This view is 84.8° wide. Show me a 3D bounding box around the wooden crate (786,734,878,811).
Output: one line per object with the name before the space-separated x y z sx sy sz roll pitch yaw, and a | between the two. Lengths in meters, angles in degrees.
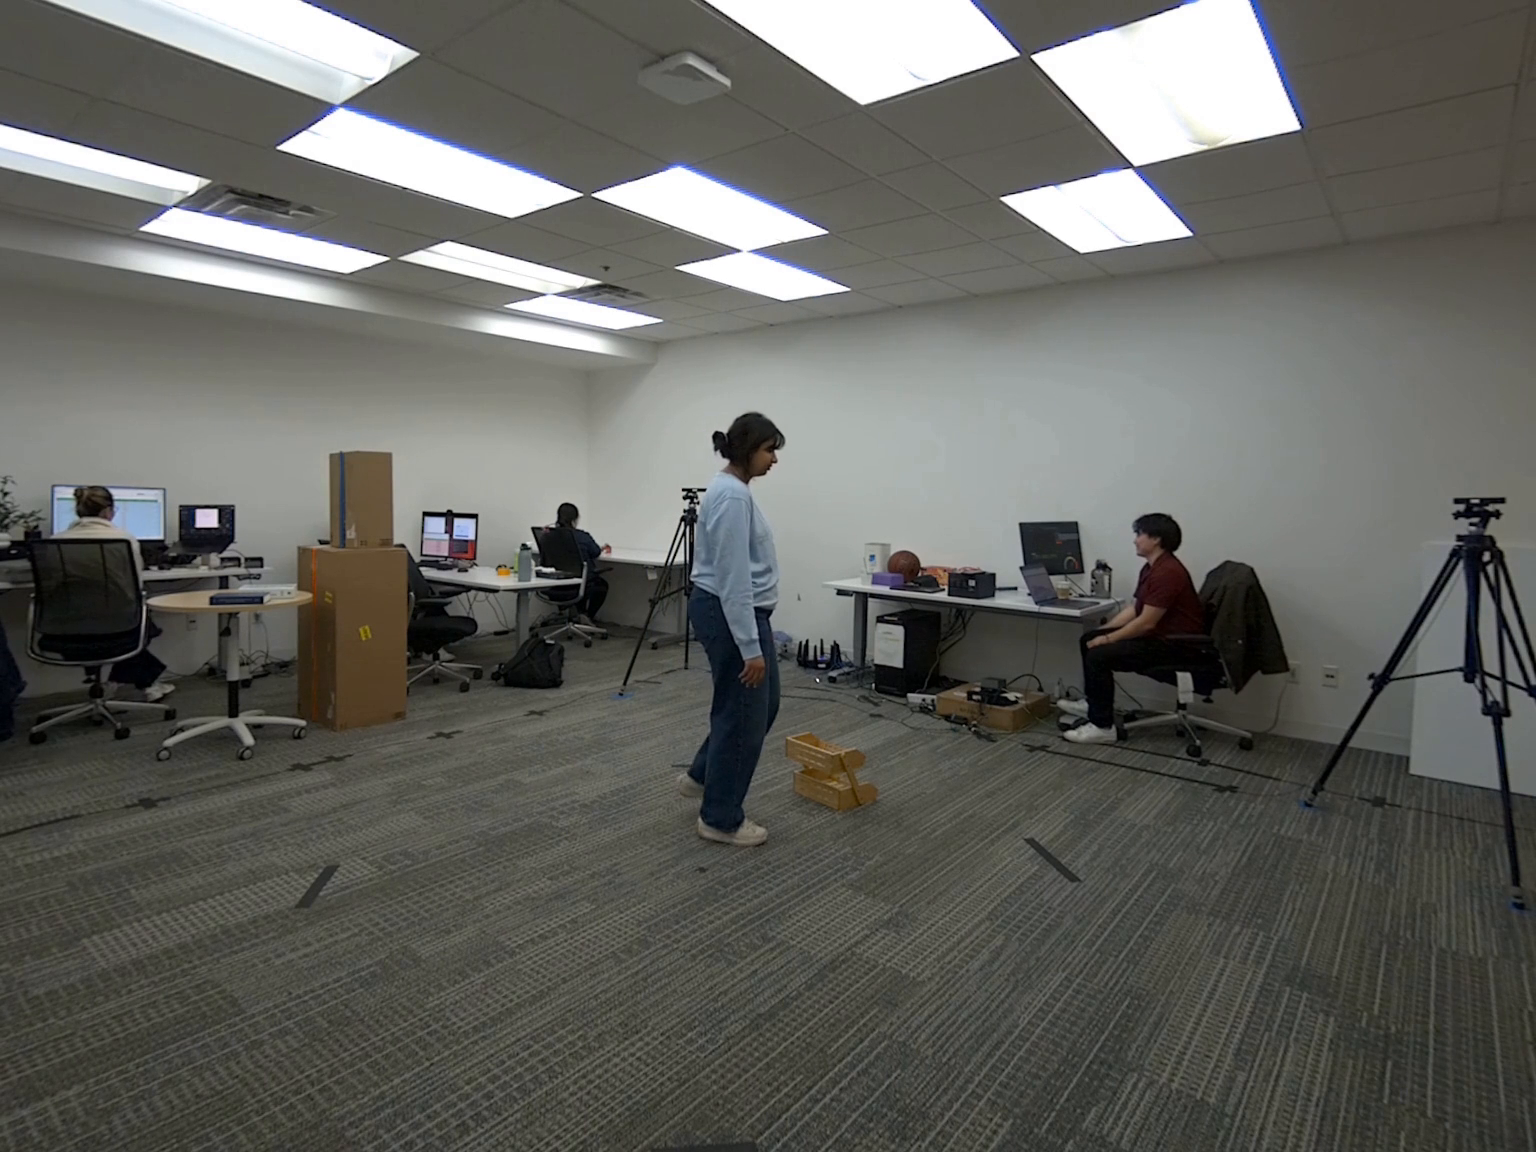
wooden crate | 0.287 0.874 3.886 0.293 0.272 0.335 -3 6 -39
